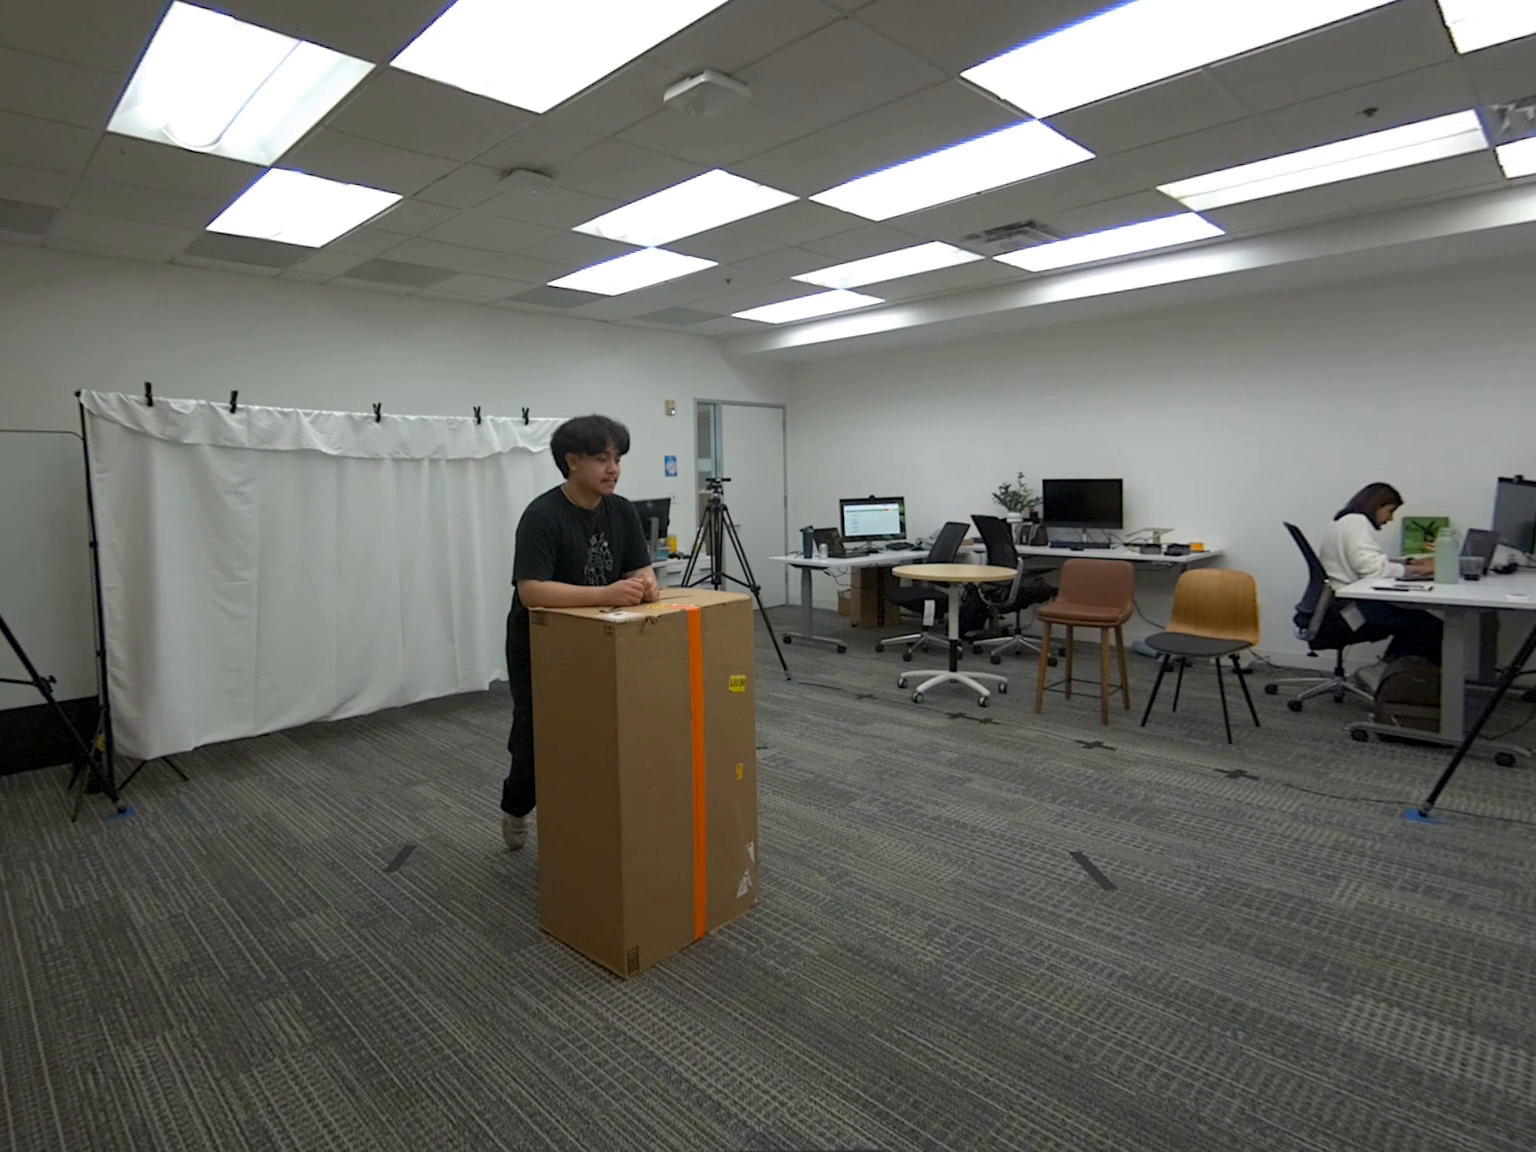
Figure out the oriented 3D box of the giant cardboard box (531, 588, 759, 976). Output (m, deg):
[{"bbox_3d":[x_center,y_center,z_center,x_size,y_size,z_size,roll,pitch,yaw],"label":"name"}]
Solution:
[{"bbox_3d":[-0.377,0.586,2.704,0.461,1.022,0.569,4,7,43],"label":"giant cardboard box"}]
